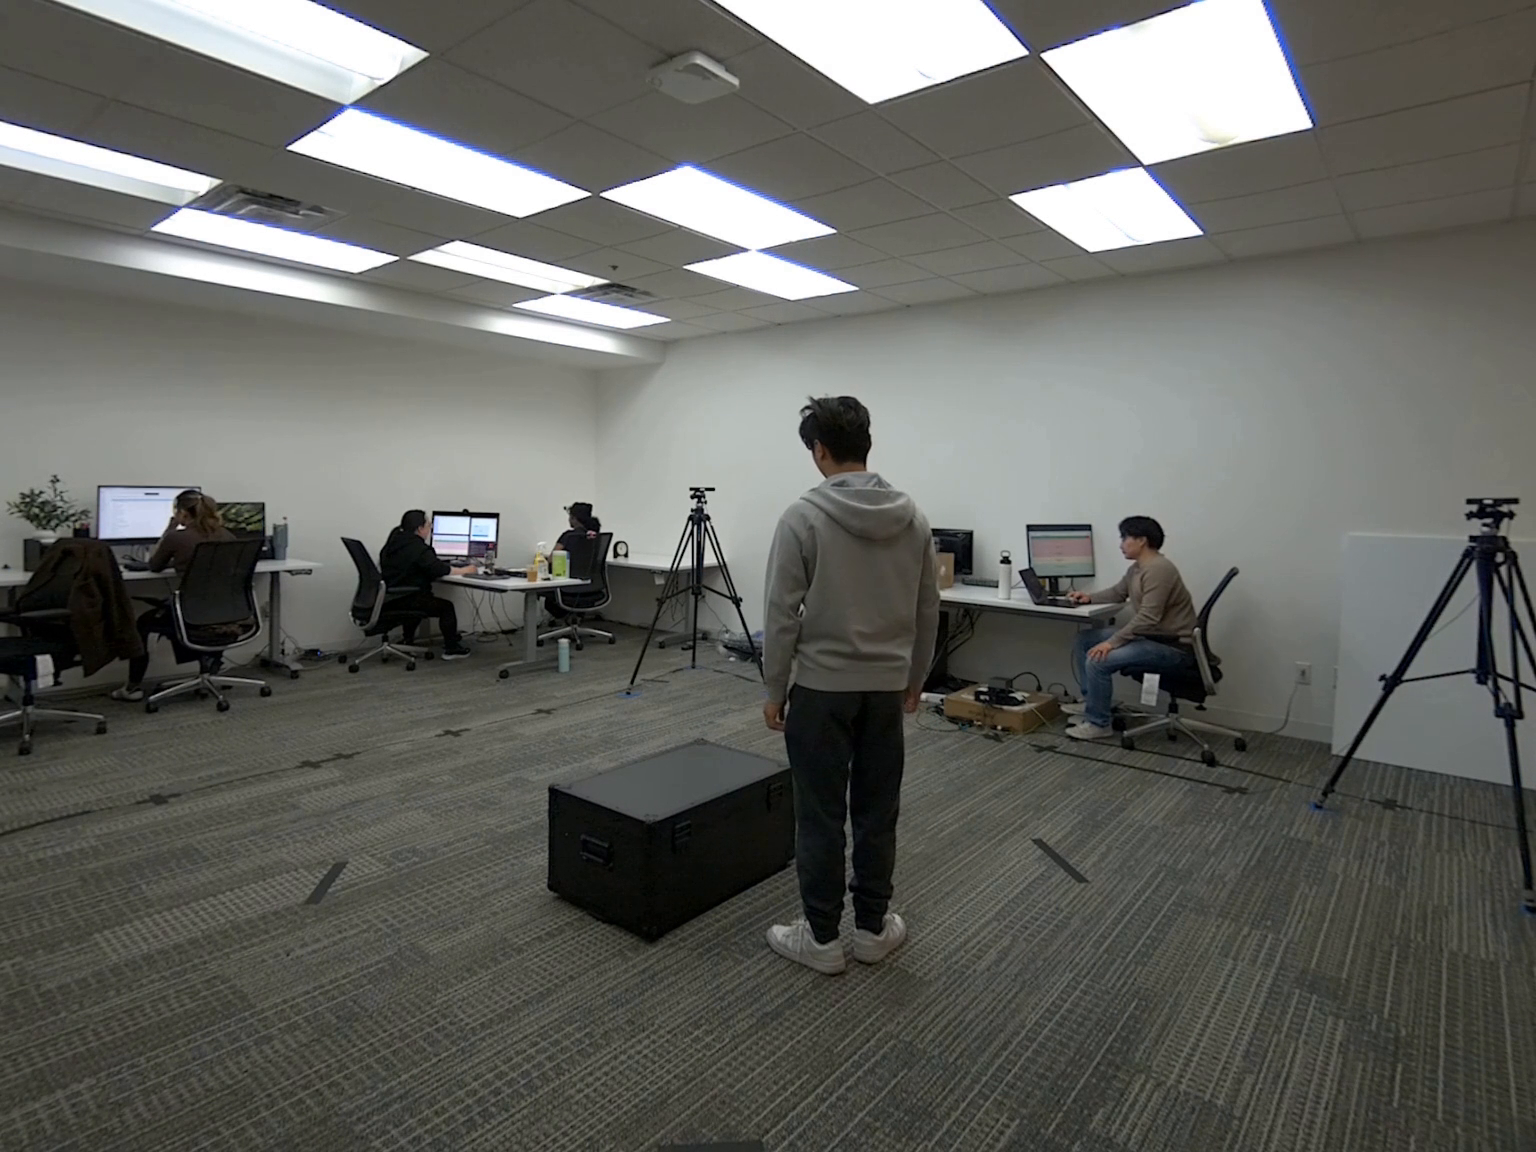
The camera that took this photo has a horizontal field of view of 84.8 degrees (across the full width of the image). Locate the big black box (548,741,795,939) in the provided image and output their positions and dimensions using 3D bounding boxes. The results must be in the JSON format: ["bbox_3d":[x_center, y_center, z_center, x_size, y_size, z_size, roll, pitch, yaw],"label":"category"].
[{"bbox_3d":[-0.306,0.881,3.030,0.538,0.395,0.837,5,7,37],"label":"big black box"}]
